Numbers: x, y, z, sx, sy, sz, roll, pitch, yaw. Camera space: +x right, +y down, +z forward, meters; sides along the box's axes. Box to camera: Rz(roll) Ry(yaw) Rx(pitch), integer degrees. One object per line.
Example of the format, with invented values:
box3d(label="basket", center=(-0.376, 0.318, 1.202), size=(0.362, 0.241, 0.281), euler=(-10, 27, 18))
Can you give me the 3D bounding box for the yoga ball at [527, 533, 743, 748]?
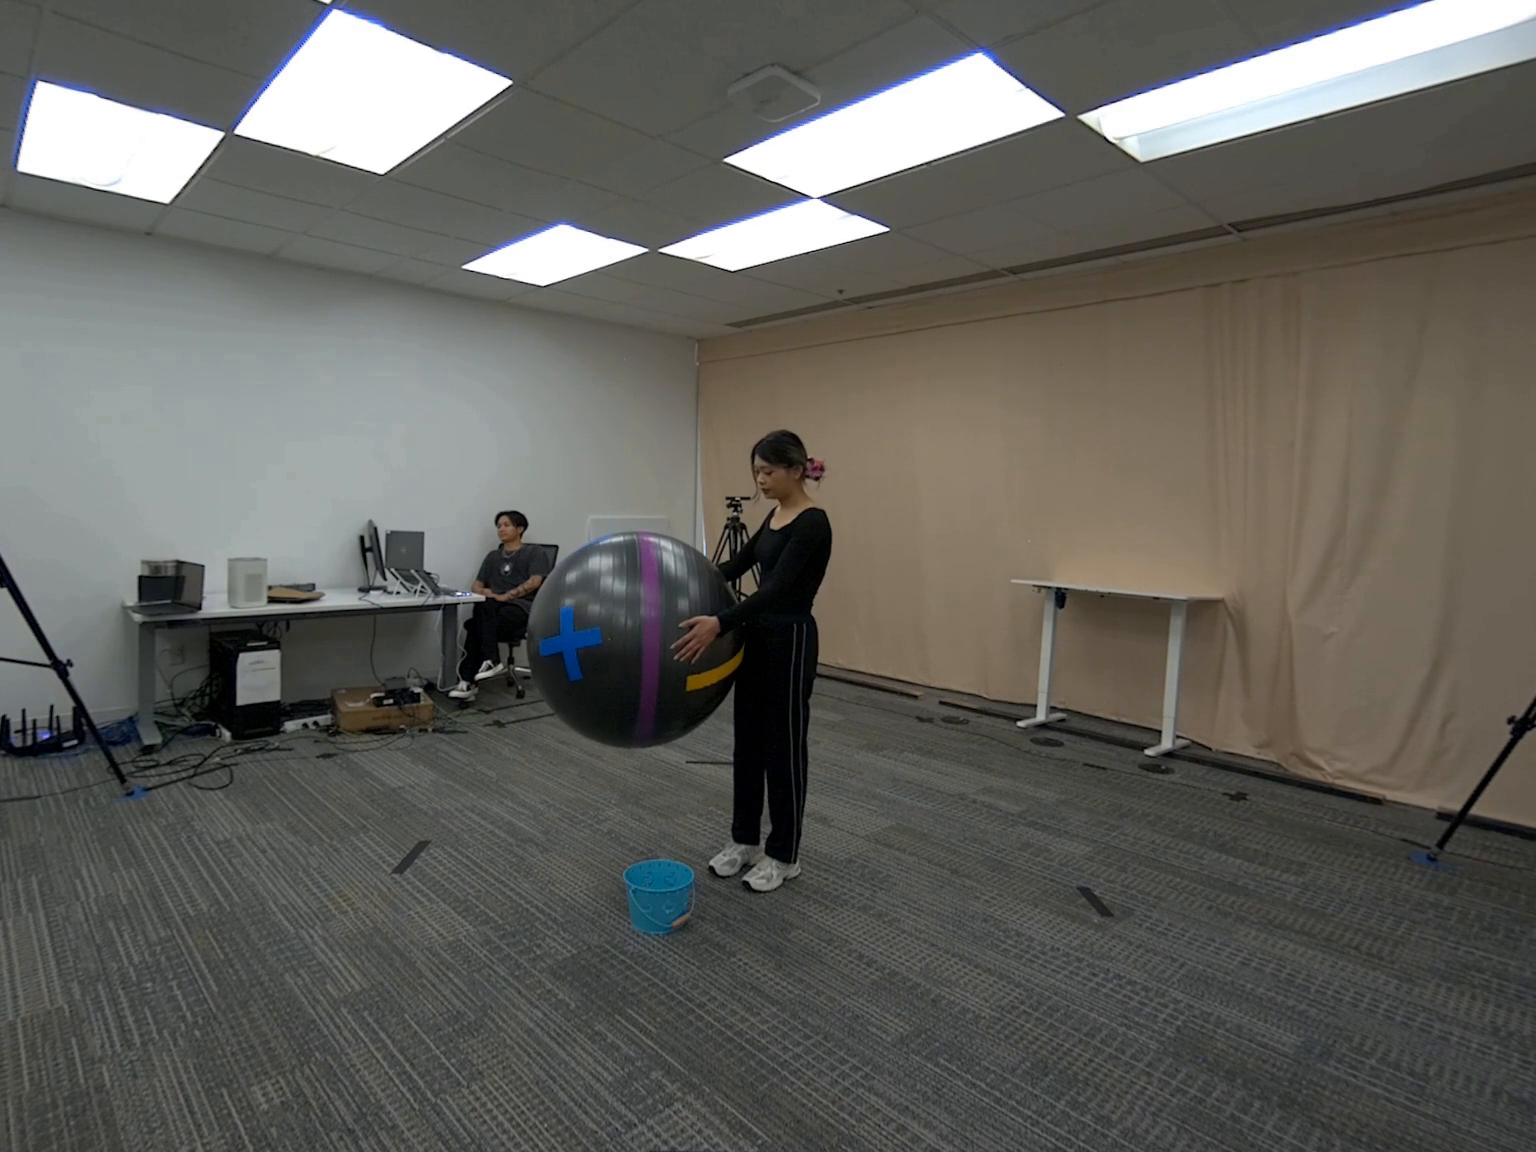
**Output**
box3d(label="yoga ball", center=(-0.468, 0.229, 2.955), size=(0.757, 0.756, 0.761), euler=(1, 4, -1))
